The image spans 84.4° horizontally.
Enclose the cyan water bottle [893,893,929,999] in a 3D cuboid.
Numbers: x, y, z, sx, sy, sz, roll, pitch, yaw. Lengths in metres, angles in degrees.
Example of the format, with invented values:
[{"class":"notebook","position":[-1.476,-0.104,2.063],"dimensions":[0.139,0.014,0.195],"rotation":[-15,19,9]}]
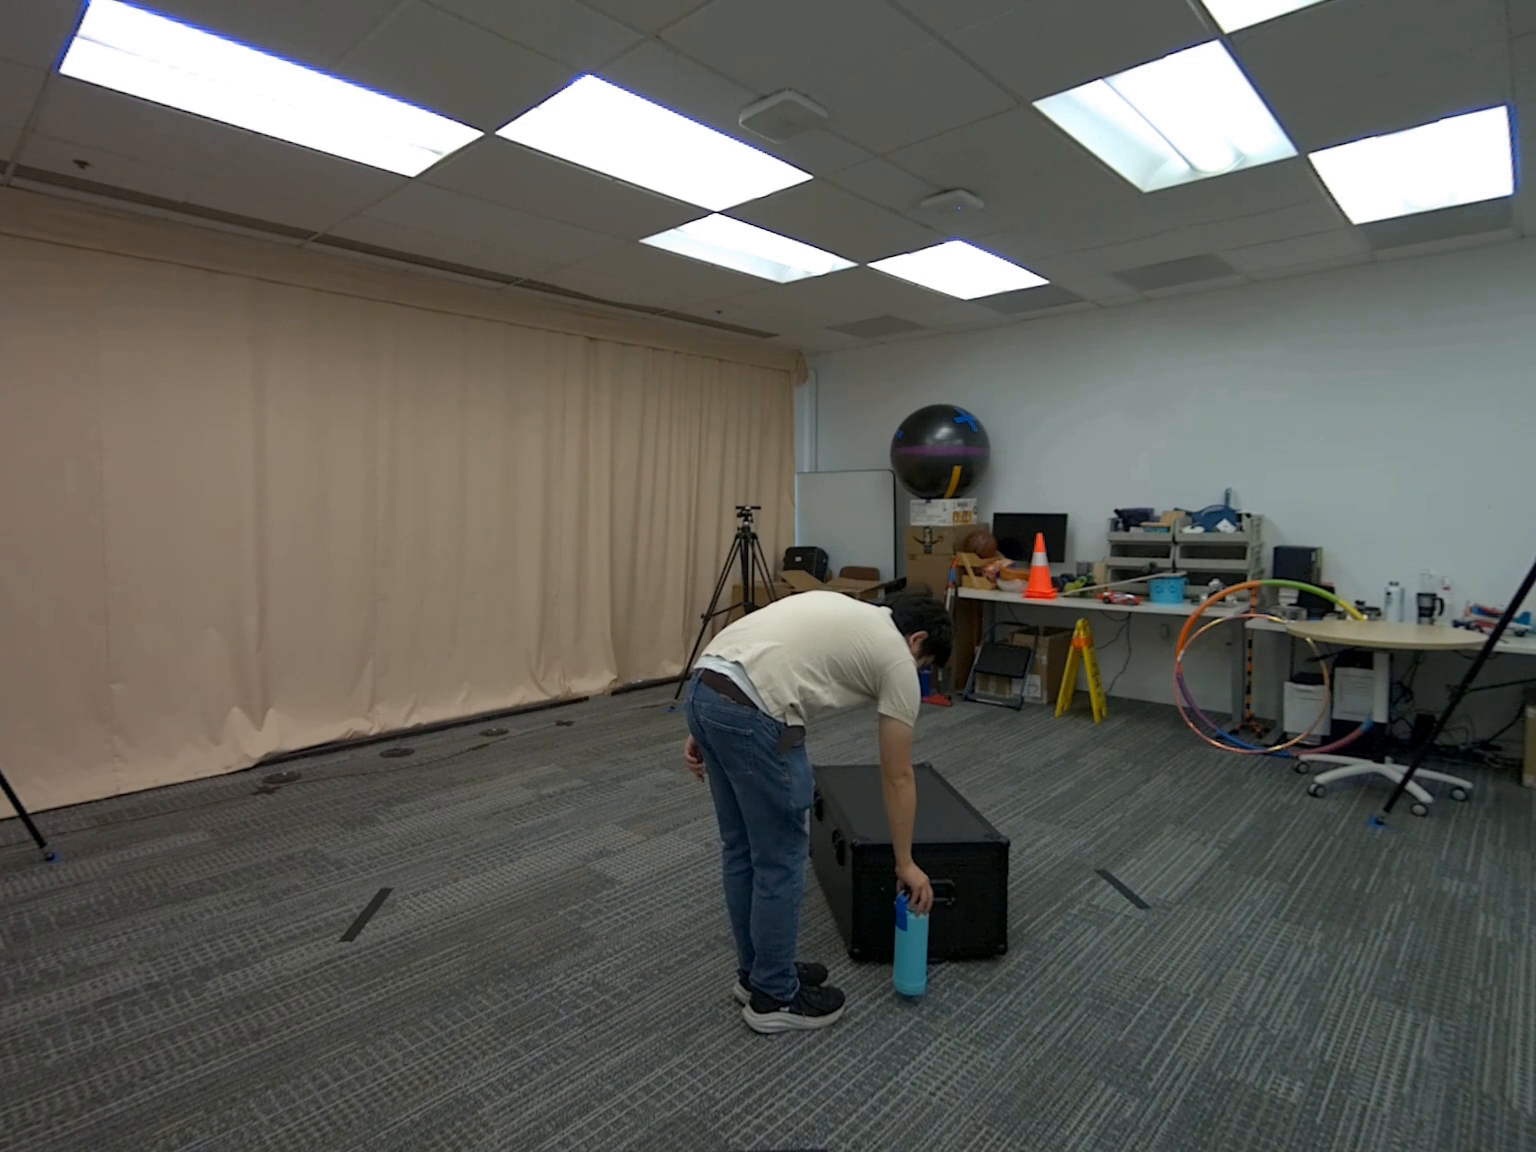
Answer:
[{"class":"cyan water bottle","position":[0.408,1.015,2.368],"dimensions":[0.092,0.283,0.092],"rotation":[1,2,-2]}]
